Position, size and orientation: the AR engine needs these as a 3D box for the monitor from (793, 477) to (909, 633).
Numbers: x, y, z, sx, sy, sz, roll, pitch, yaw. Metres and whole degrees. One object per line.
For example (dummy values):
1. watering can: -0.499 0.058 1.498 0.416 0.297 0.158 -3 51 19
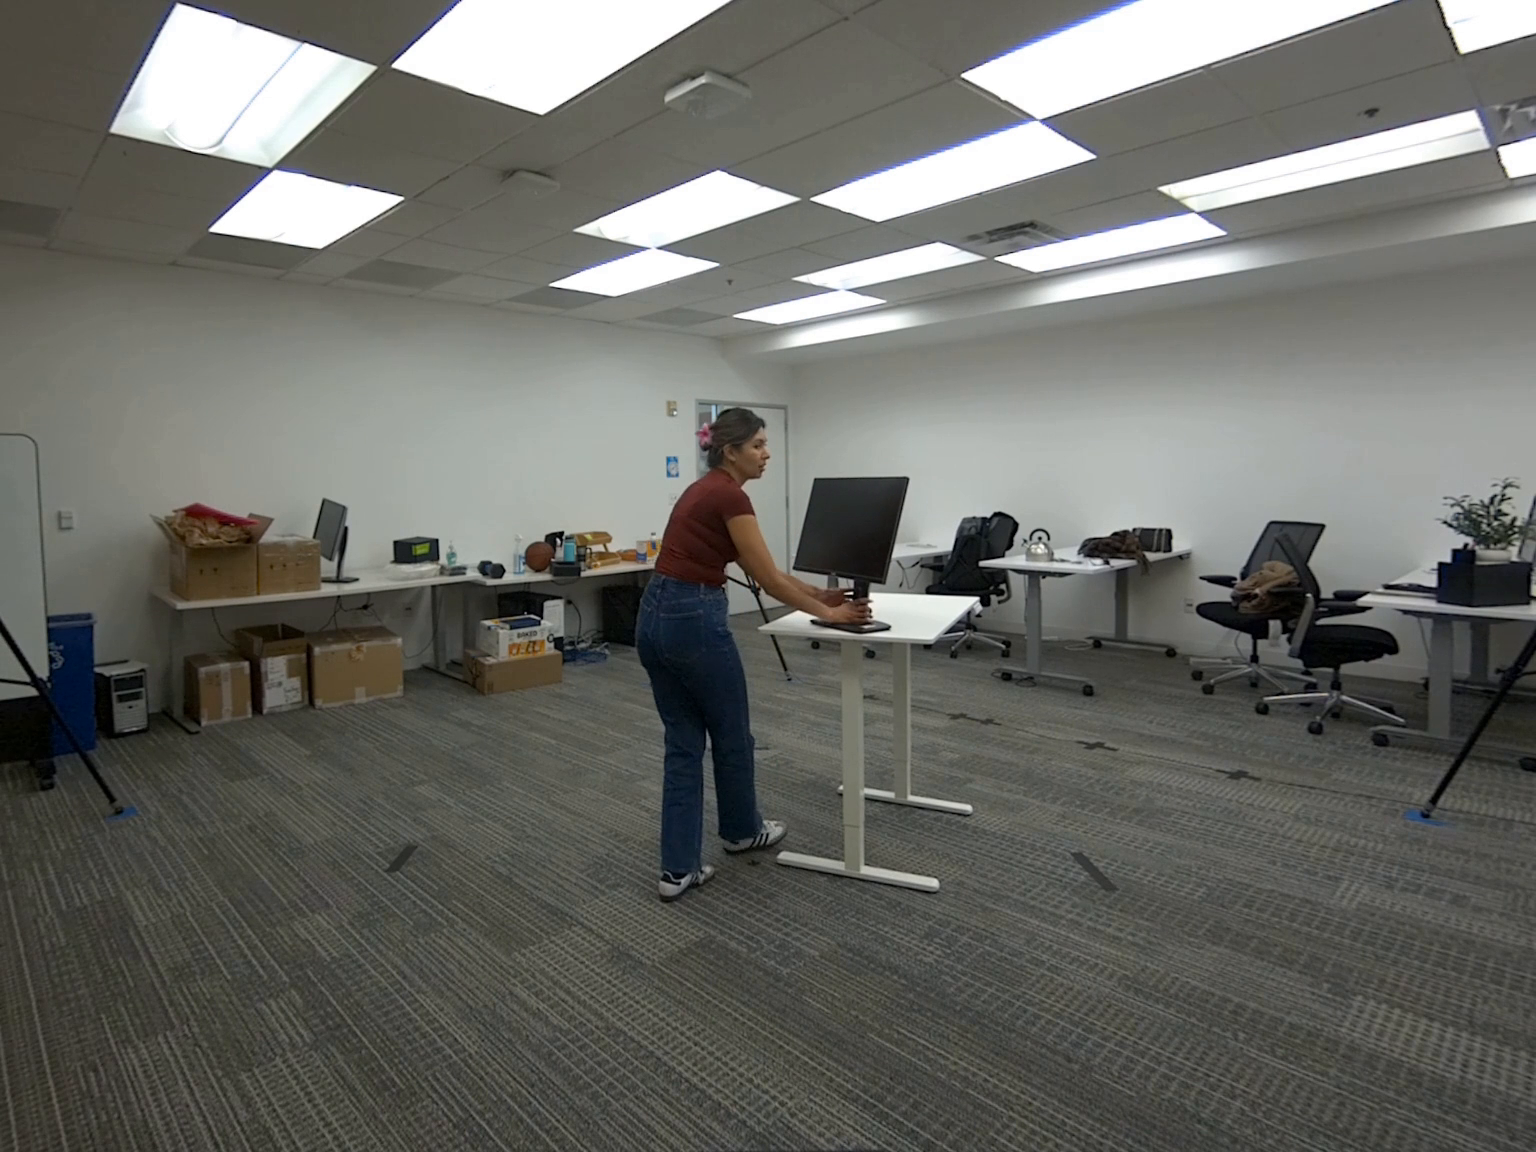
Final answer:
1. monitor: 0.292 -0.077 2.943 0.182 0.521 0.554 0 3 -32
